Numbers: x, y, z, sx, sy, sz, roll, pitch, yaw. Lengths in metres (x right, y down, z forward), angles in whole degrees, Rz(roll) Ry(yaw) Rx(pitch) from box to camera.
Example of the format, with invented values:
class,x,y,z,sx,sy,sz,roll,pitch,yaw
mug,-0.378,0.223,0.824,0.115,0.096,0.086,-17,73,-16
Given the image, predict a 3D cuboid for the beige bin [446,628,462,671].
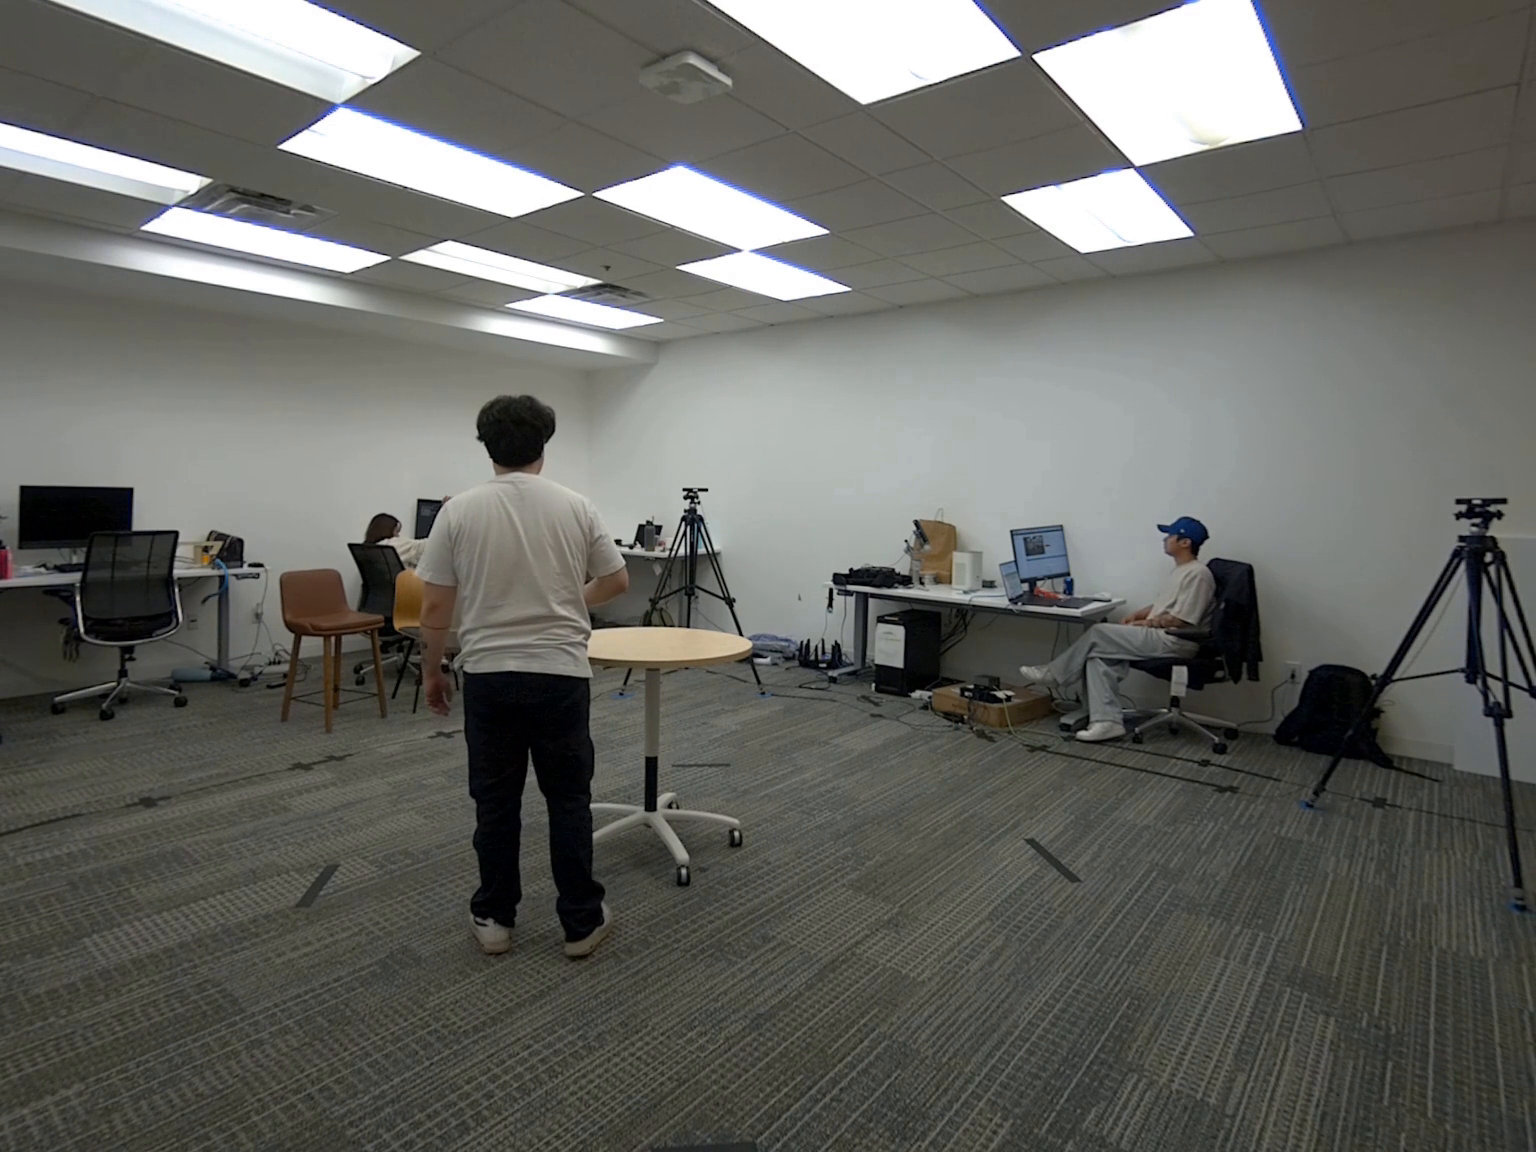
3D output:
class,x,y,z,sx,sy,sz,roll,pitch,yaw
beige bin,-0.908,0.154,2.881,0.417,0.188,0.384,2,7,-13
